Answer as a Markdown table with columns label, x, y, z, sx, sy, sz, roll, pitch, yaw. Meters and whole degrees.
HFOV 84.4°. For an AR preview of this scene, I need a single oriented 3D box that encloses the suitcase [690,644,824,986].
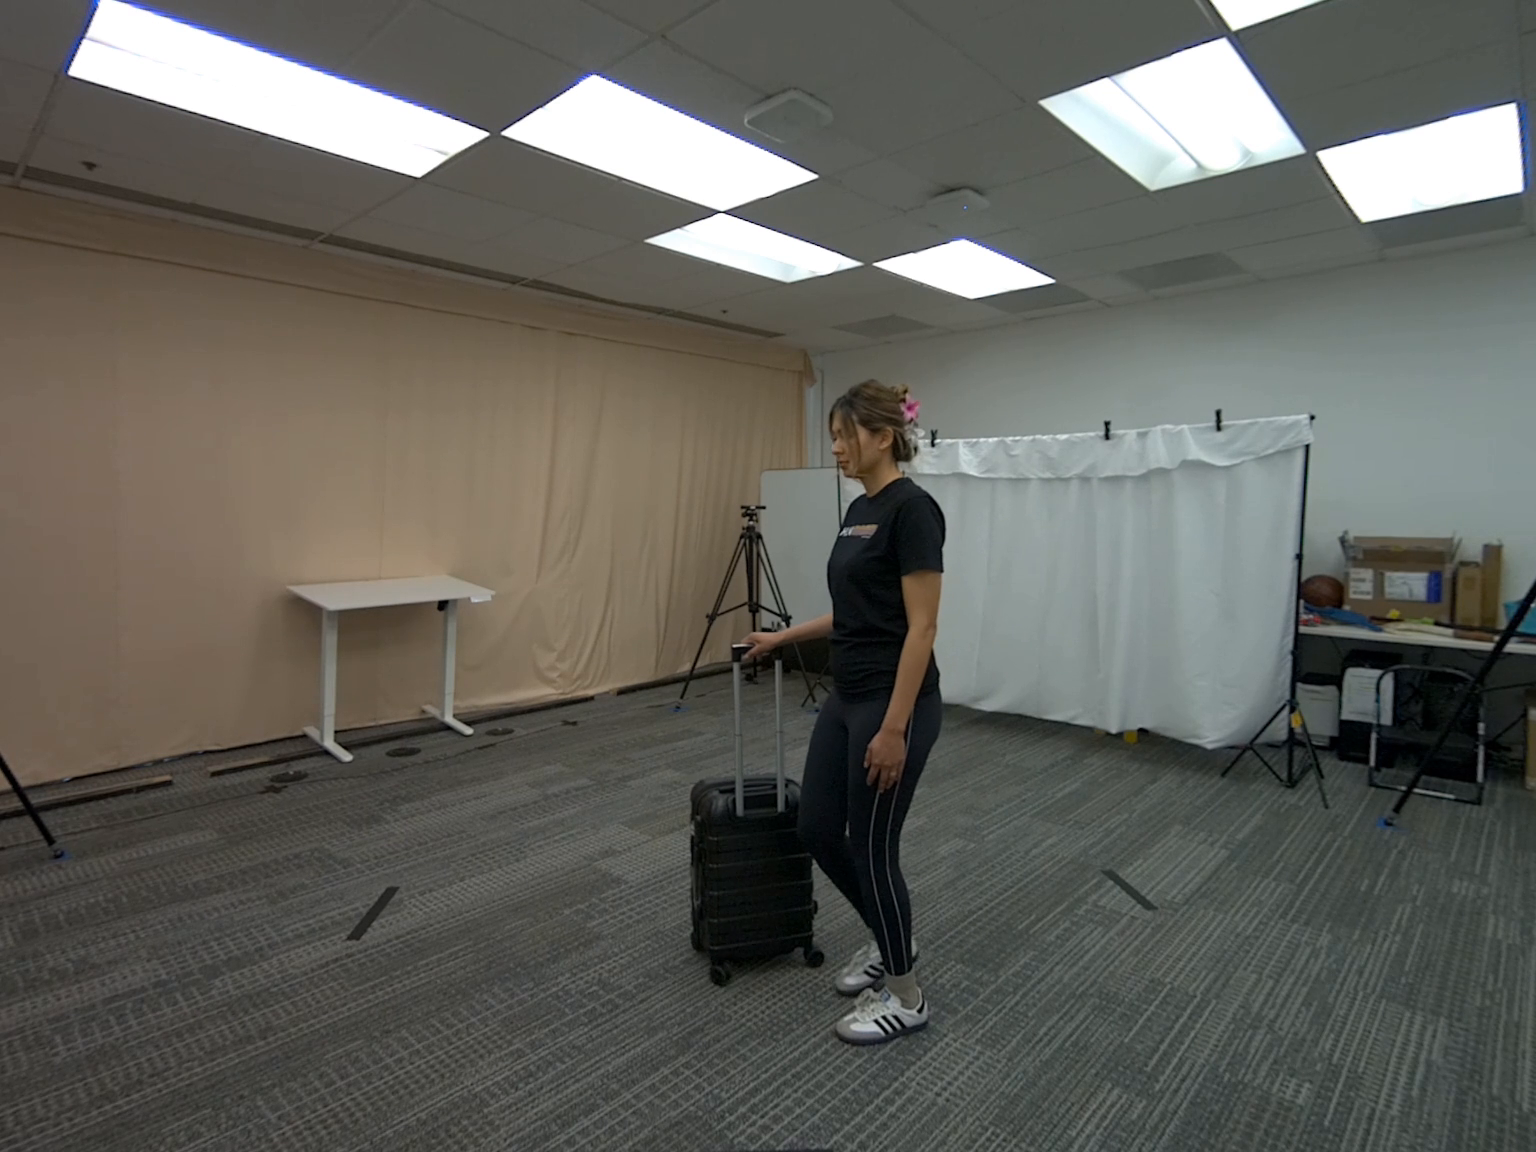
| label | x | y | z | sx | sy | sz | roll | pitch | yaw |
| --- | --- | --- | --- | --- | --- | --- | --- | --- | --- |
| suitcase | -0.053 | 0.701 | 2.601 | 0.378 | 0.978 | 0.261 | 0 | 0 | -15 |
